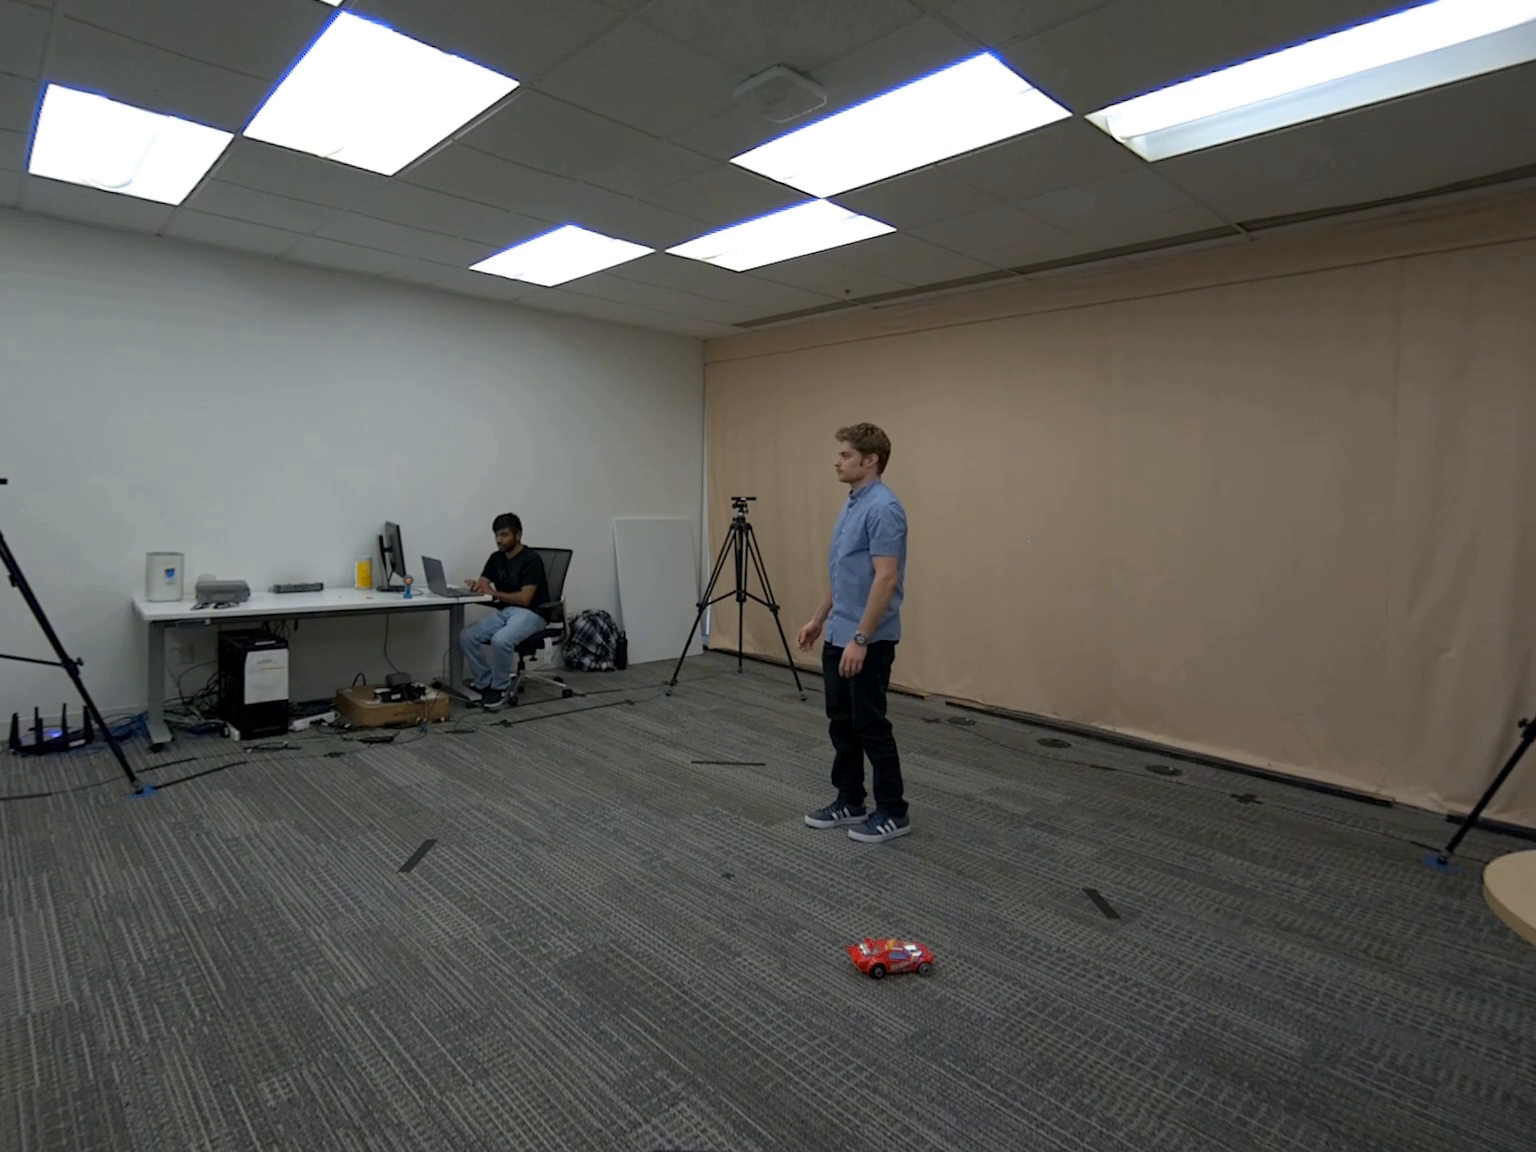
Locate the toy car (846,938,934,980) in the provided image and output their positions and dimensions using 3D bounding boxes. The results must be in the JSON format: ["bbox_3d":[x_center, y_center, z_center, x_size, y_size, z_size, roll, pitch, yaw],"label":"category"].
[{"bbox_3d":[0.351,1.139,2.515,0.252,0.083,0.131,12,2,-9],"label":"toy car"}]
